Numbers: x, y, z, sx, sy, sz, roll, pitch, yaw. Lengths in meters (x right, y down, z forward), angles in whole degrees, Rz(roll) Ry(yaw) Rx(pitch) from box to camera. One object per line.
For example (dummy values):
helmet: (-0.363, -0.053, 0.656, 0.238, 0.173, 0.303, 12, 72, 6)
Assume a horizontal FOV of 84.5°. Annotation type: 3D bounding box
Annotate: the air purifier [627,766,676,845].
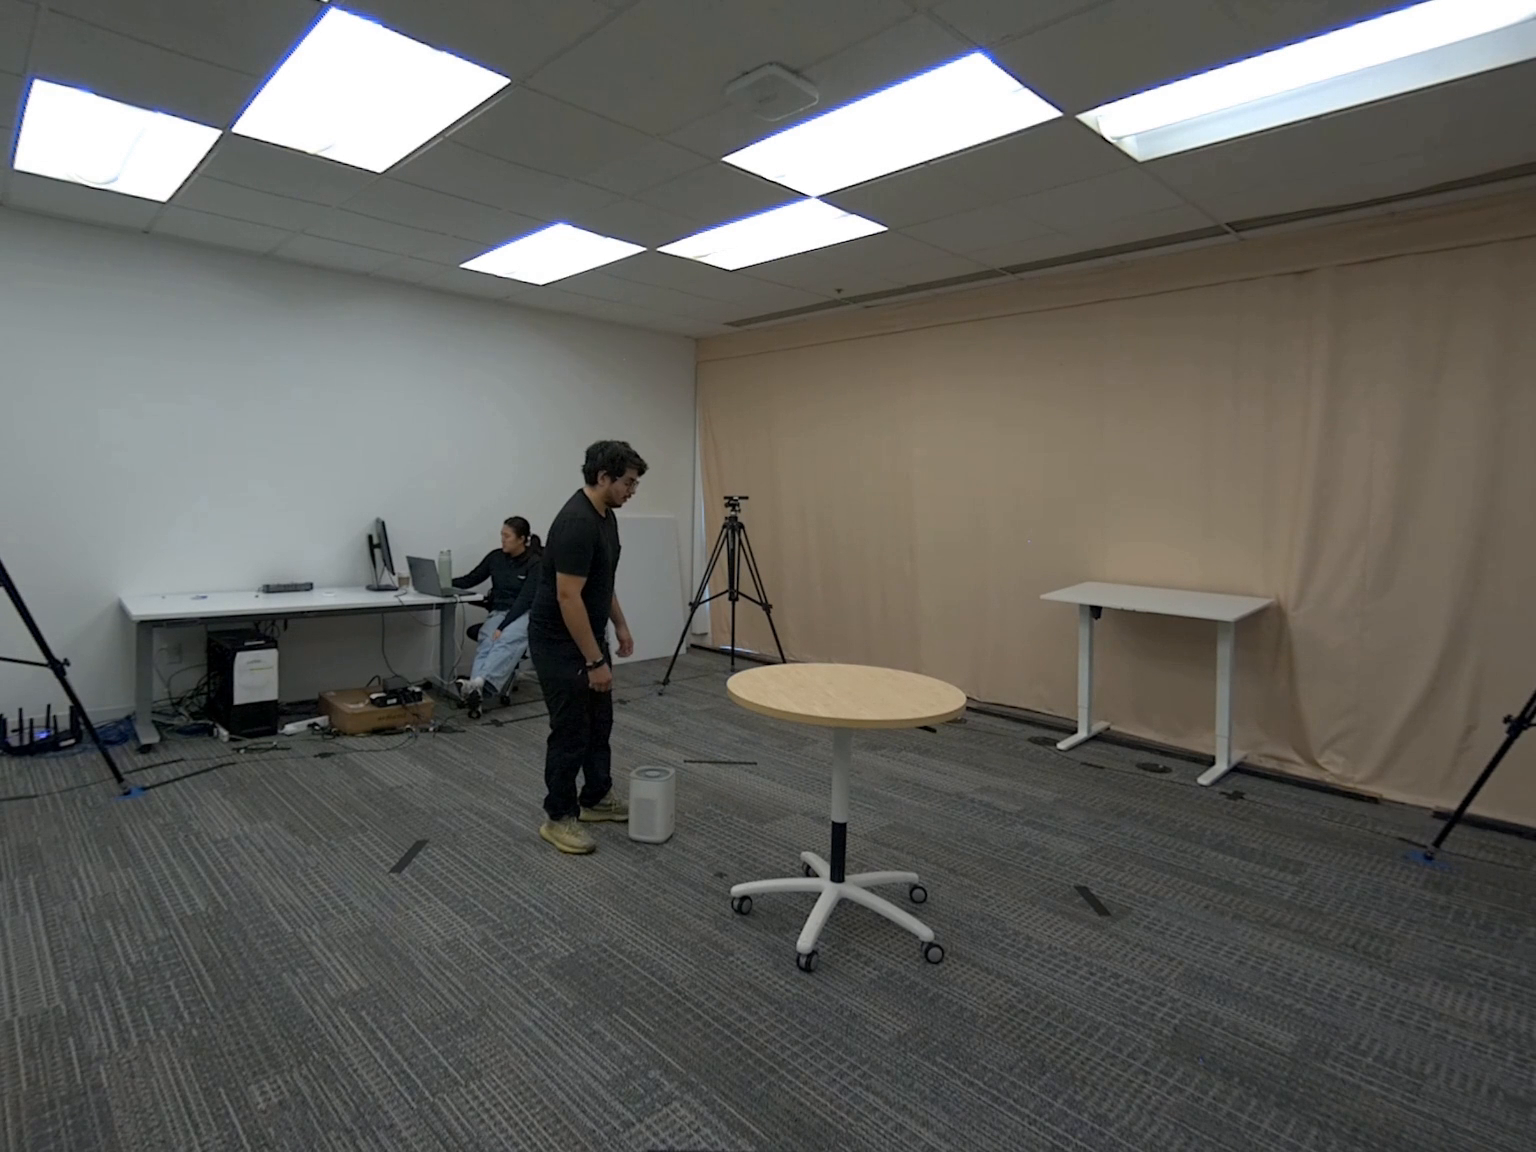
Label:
air purifier: (-0.482, 0.935, 3.438, 0.176, 0.261, 0.166, 3, 3, 16)
